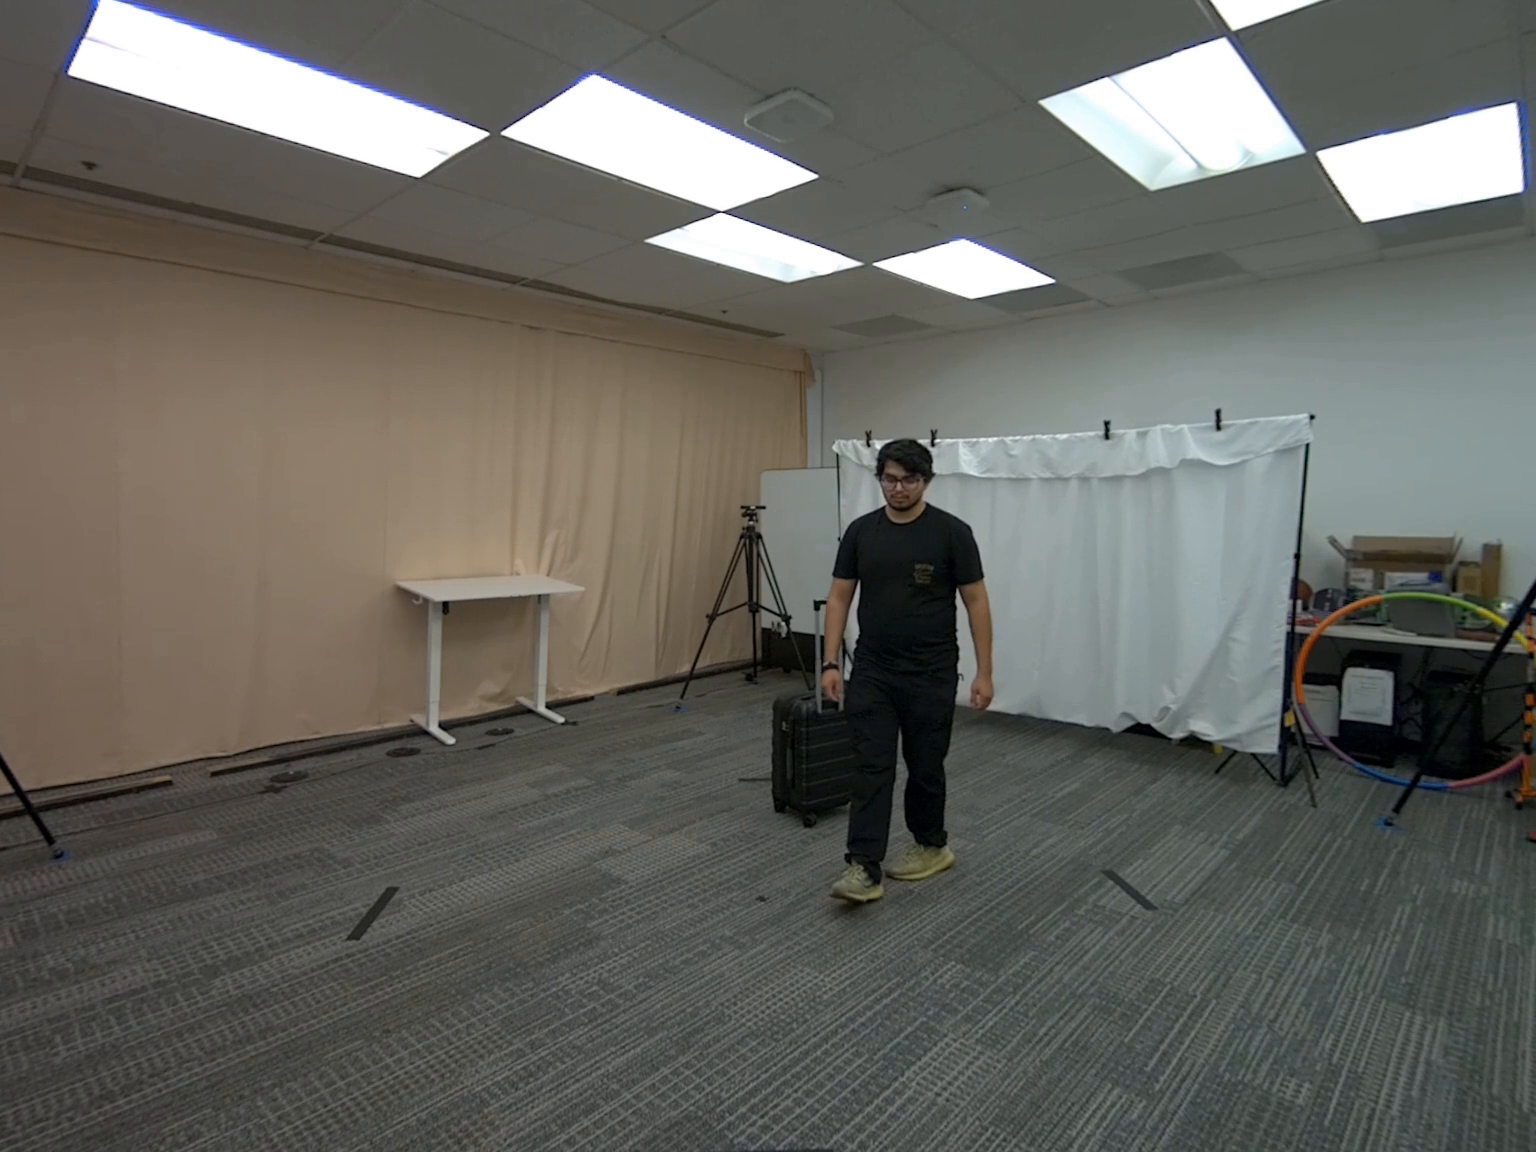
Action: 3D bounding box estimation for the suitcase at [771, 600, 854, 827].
[{"bbox_3d":[0.209,0.596,3.820,0.373,0.978,0.264,-2,1,-32],"label":"suitcase"}]
